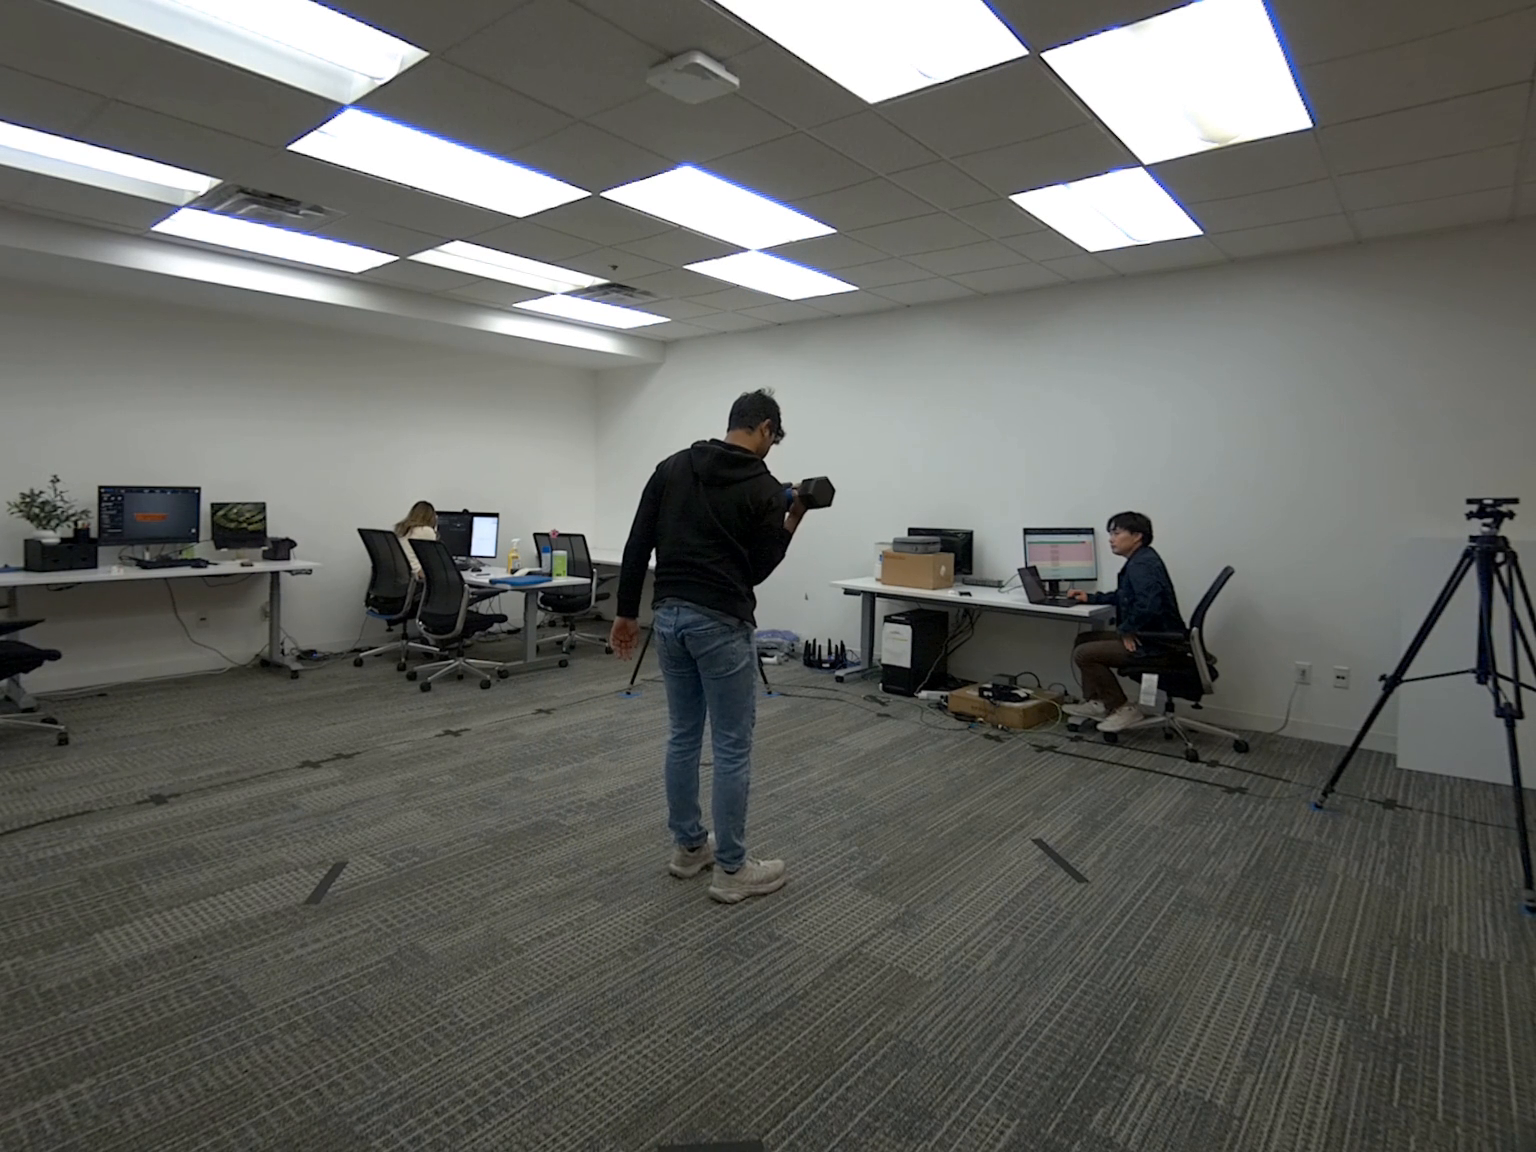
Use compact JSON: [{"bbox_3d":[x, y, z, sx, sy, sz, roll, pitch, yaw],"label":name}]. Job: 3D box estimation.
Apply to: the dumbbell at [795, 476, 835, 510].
[{"bbox_3d":[0.111,-0.271,3.025,0.105,0.124,0.301,26,-14,-29],"label":"dumbbell"}]
